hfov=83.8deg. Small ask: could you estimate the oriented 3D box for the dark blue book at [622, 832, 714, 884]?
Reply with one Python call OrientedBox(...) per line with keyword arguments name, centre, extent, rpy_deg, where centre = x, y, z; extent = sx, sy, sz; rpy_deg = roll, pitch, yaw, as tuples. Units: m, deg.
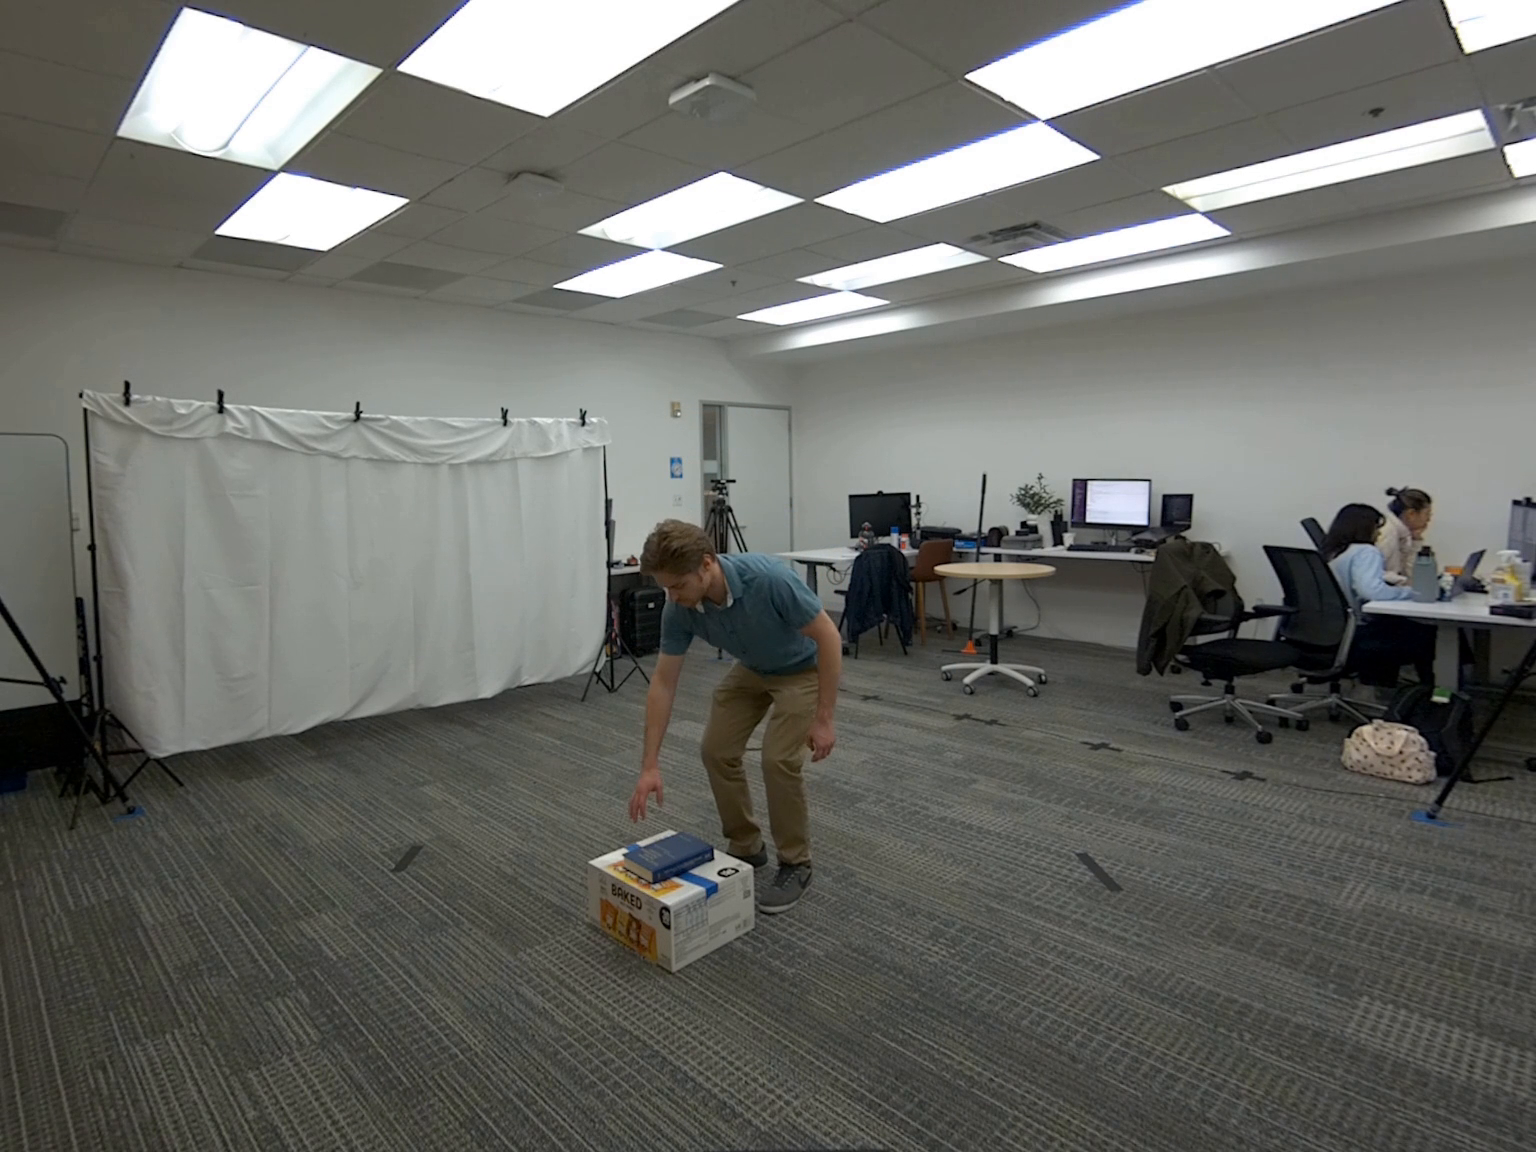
OrientedBox(name="dark blue book", centre=(-0.309, 0.884, 2.686), extent=(0.239, 0.045, 0.168), rpy_deg=(-7, 9, -42))
